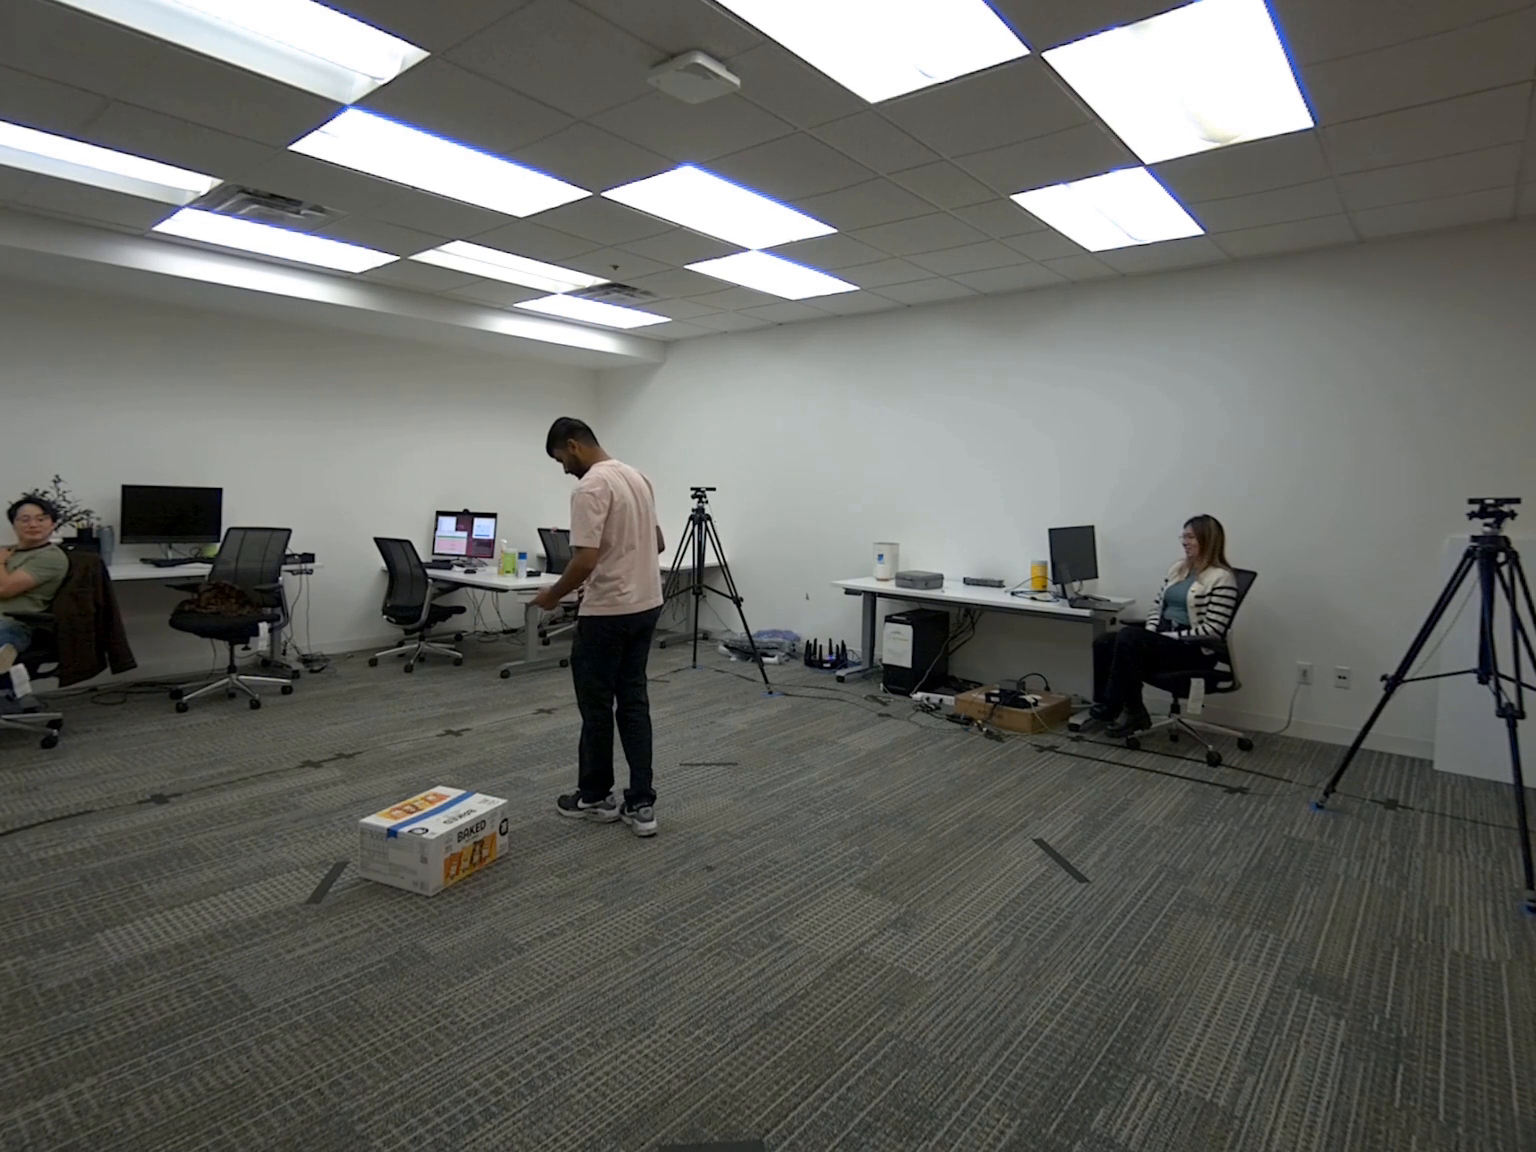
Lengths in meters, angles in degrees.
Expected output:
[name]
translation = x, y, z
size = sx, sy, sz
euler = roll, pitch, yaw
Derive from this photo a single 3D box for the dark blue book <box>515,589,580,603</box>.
[dark blue book]
translation = -0.941, 0.083, 3.591
size = 0.245, 0.045, 0.164
euler = 0, 3, -2
